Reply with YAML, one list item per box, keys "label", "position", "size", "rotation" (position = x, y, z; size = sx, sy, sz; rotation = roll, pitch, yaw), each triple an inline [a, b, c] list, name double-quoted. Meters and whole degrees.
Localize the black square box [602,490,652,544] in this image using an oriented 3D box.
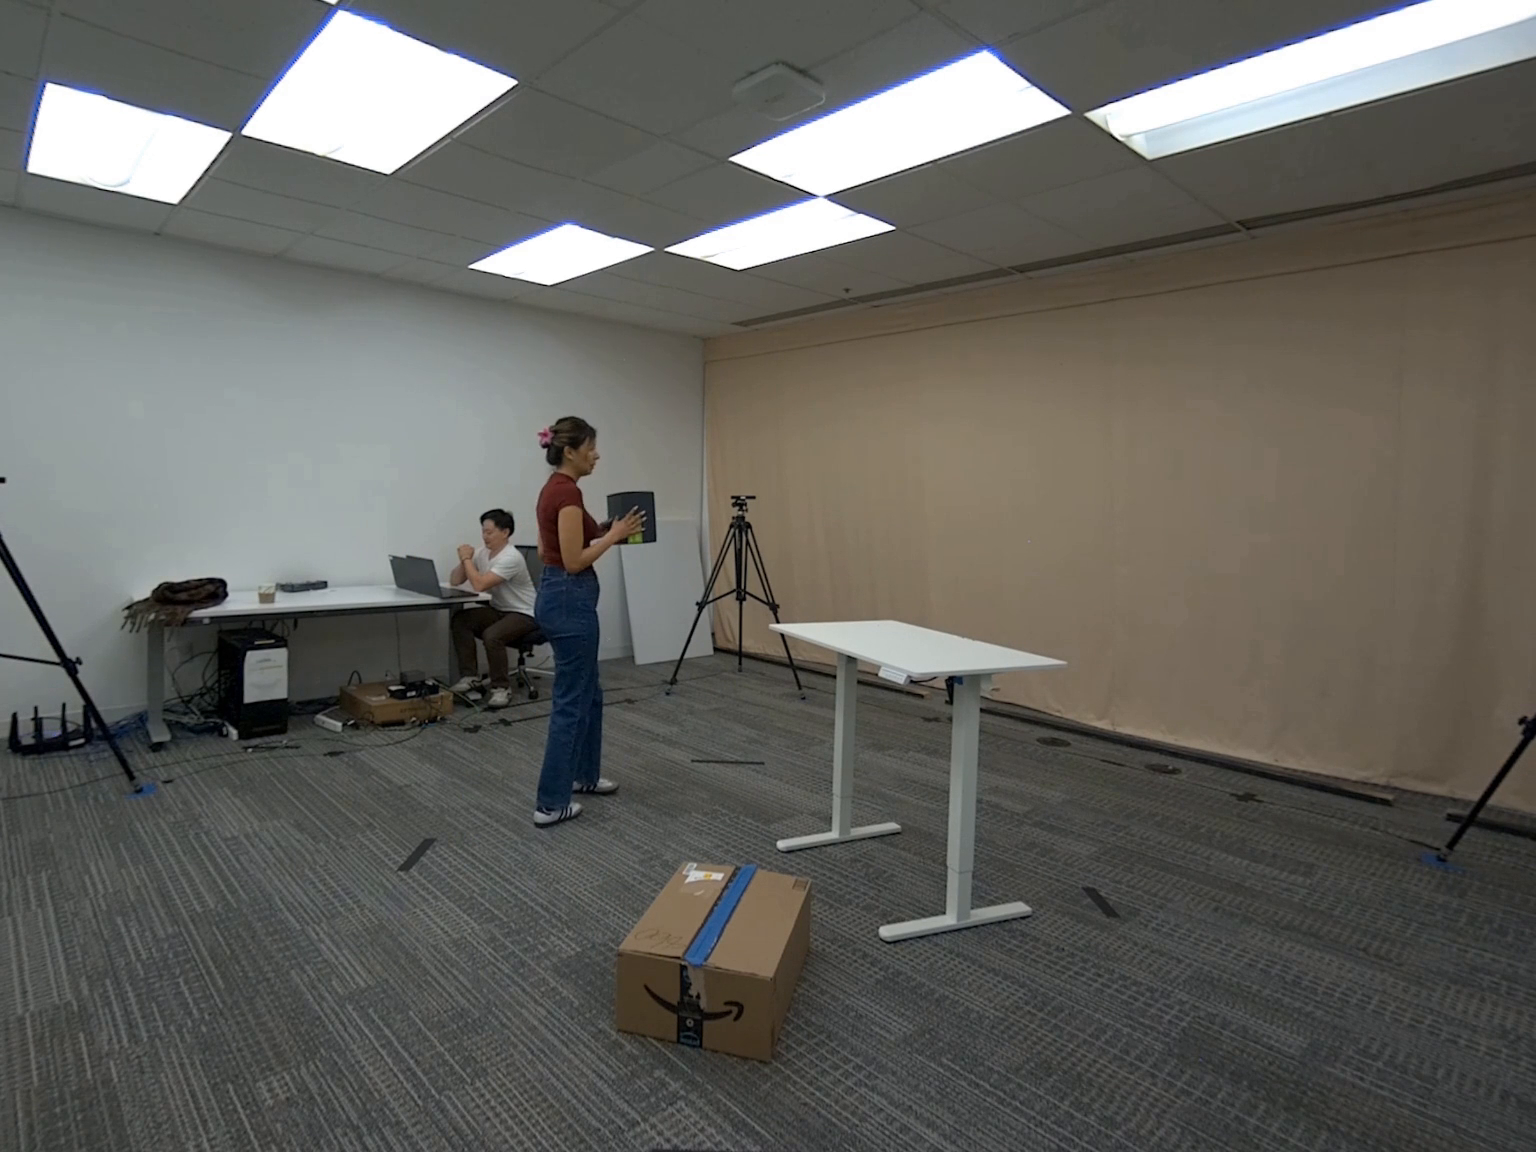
- label: "black square box"
  position: [-0.637, -0.264, 3.797]
  size: [0.153, 0.228, 0.221]
  rotation: [-3, 1, -25]
